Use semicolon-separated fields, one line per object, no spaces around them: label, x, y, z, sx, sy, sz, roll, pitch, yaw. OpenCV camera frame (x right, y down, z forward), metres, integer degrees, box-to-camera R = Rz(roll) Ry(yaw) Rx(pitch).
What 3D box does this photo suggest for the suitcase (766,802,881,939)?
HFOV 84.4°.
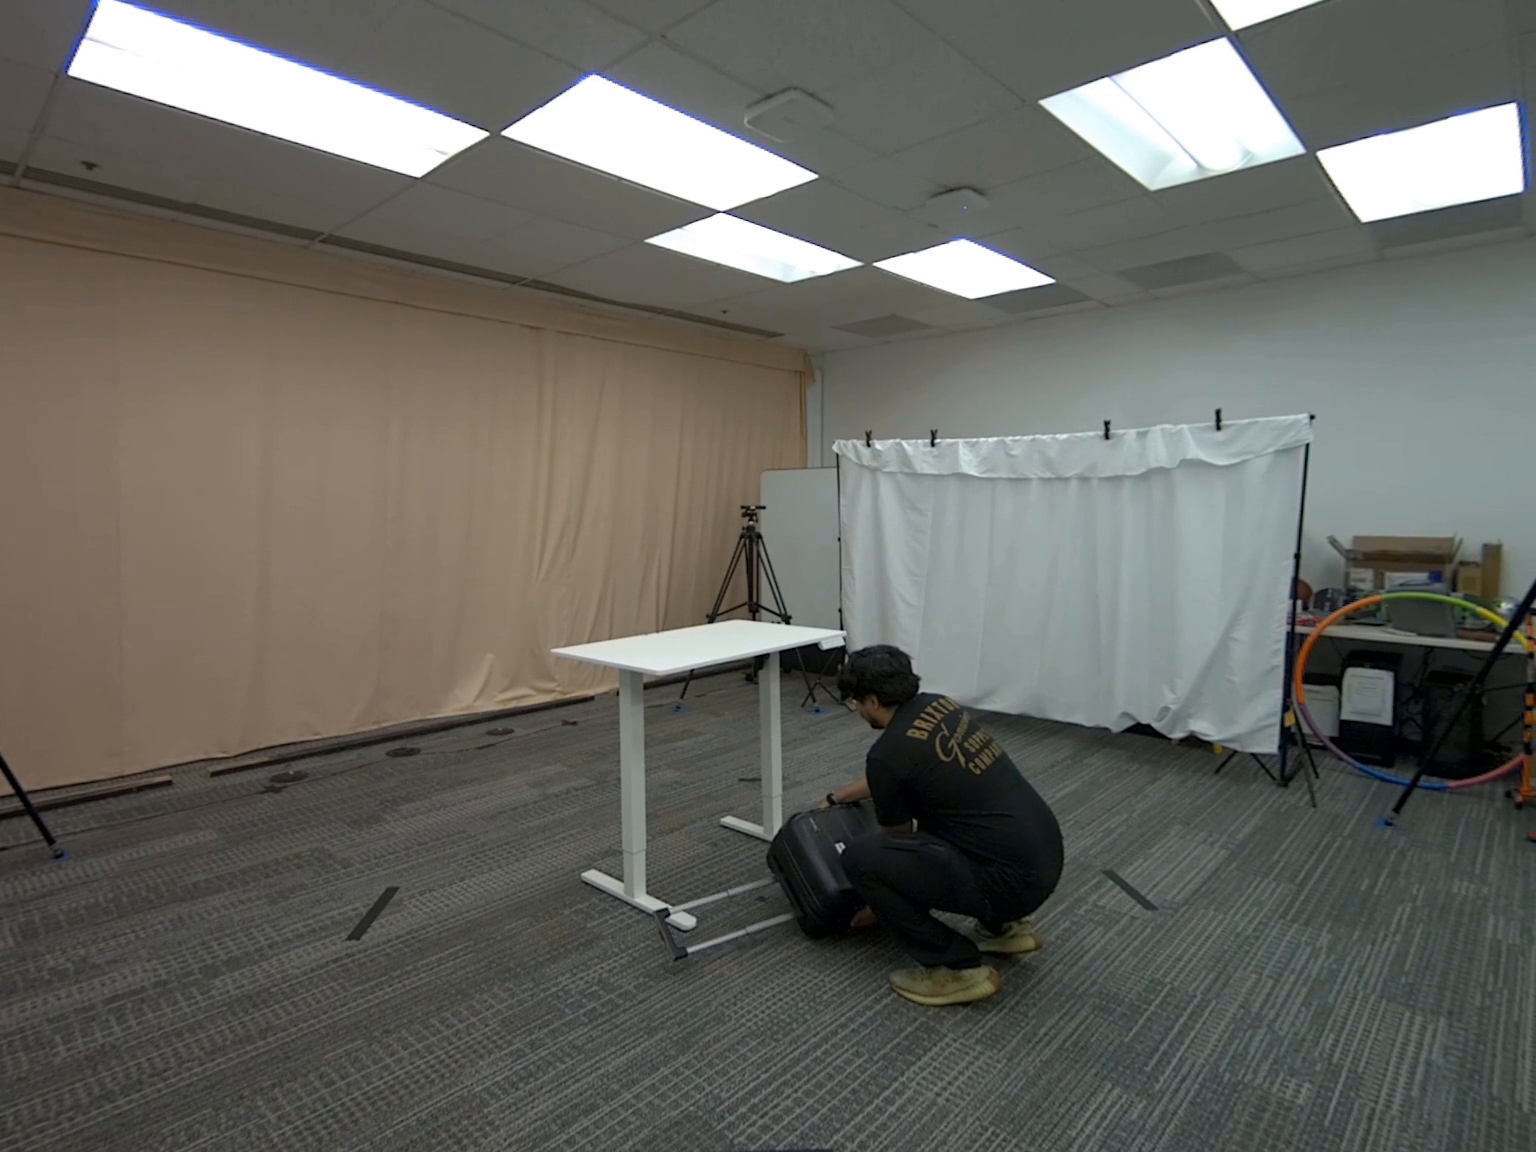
suitcase;0.137;0.969;2.732;0.950;0.256;0.397;-2;38;-33
